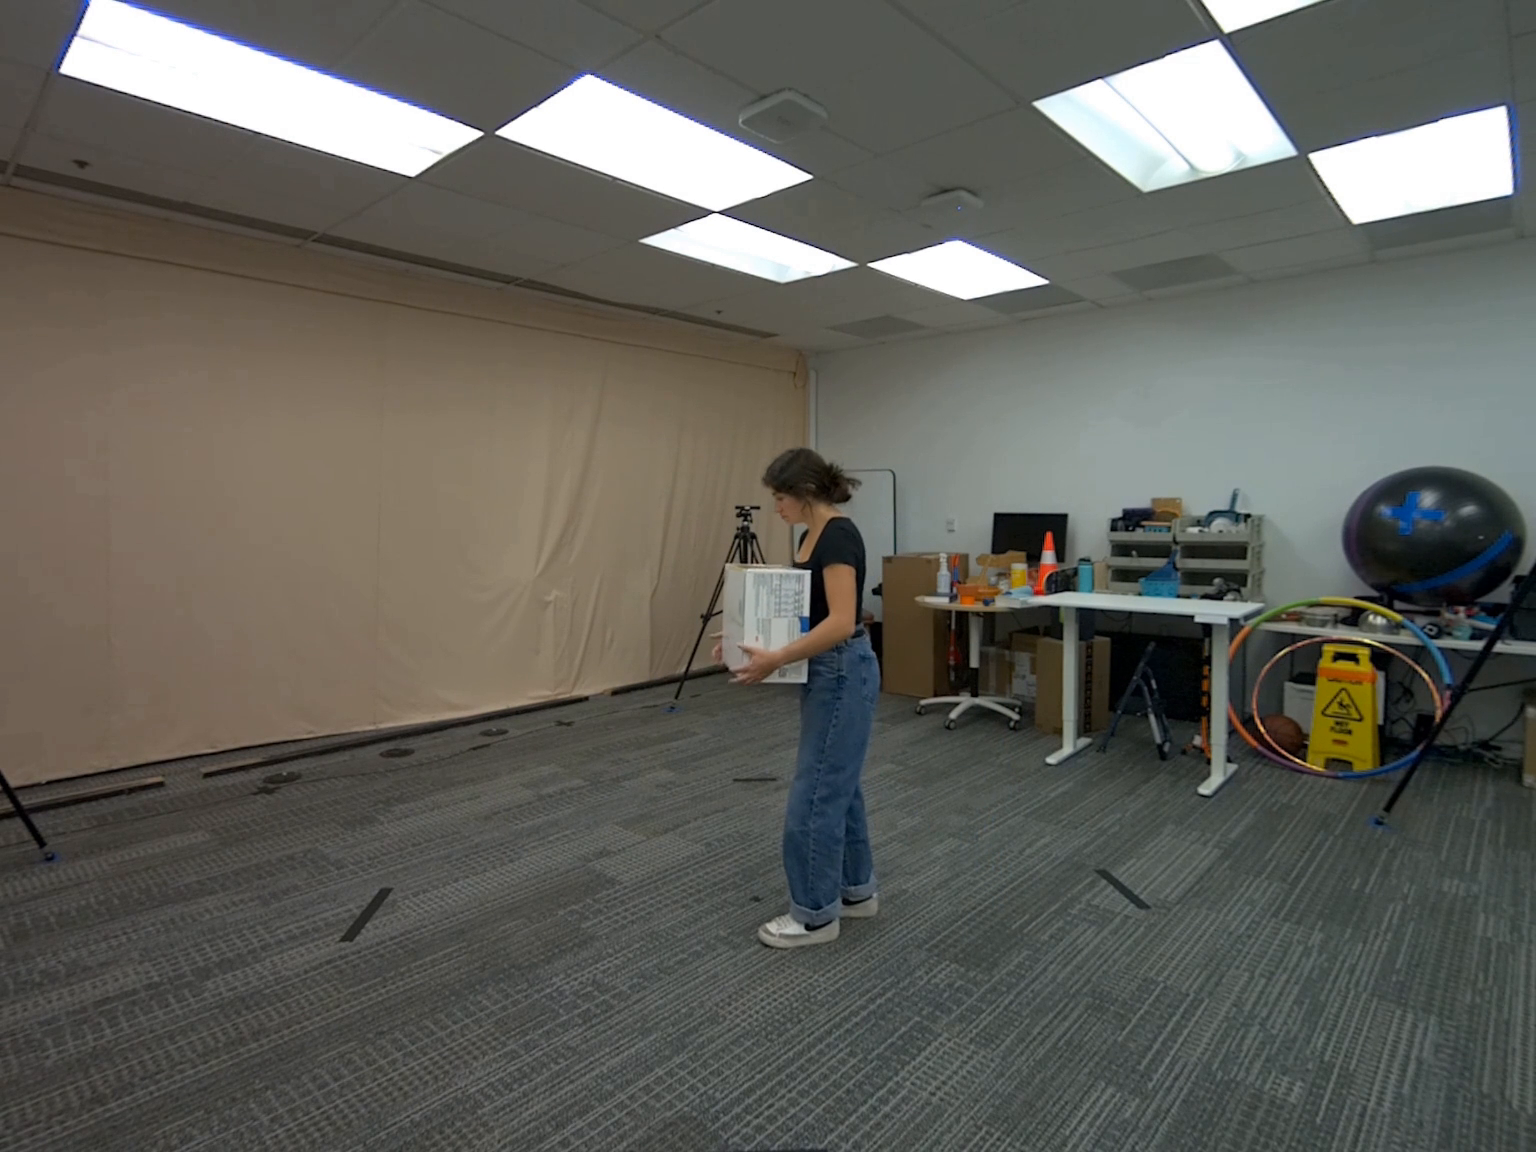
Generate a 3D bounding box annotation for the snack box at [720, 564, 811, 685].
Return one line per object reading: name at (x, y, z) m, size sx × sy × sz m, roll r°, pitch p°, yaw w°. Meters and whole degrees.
snack box at (-0.016, 0.149, 2.726) m, size 0.203 × 0.340 × 0.410 m, roll 1°, pitch 2°, yaw -12°
